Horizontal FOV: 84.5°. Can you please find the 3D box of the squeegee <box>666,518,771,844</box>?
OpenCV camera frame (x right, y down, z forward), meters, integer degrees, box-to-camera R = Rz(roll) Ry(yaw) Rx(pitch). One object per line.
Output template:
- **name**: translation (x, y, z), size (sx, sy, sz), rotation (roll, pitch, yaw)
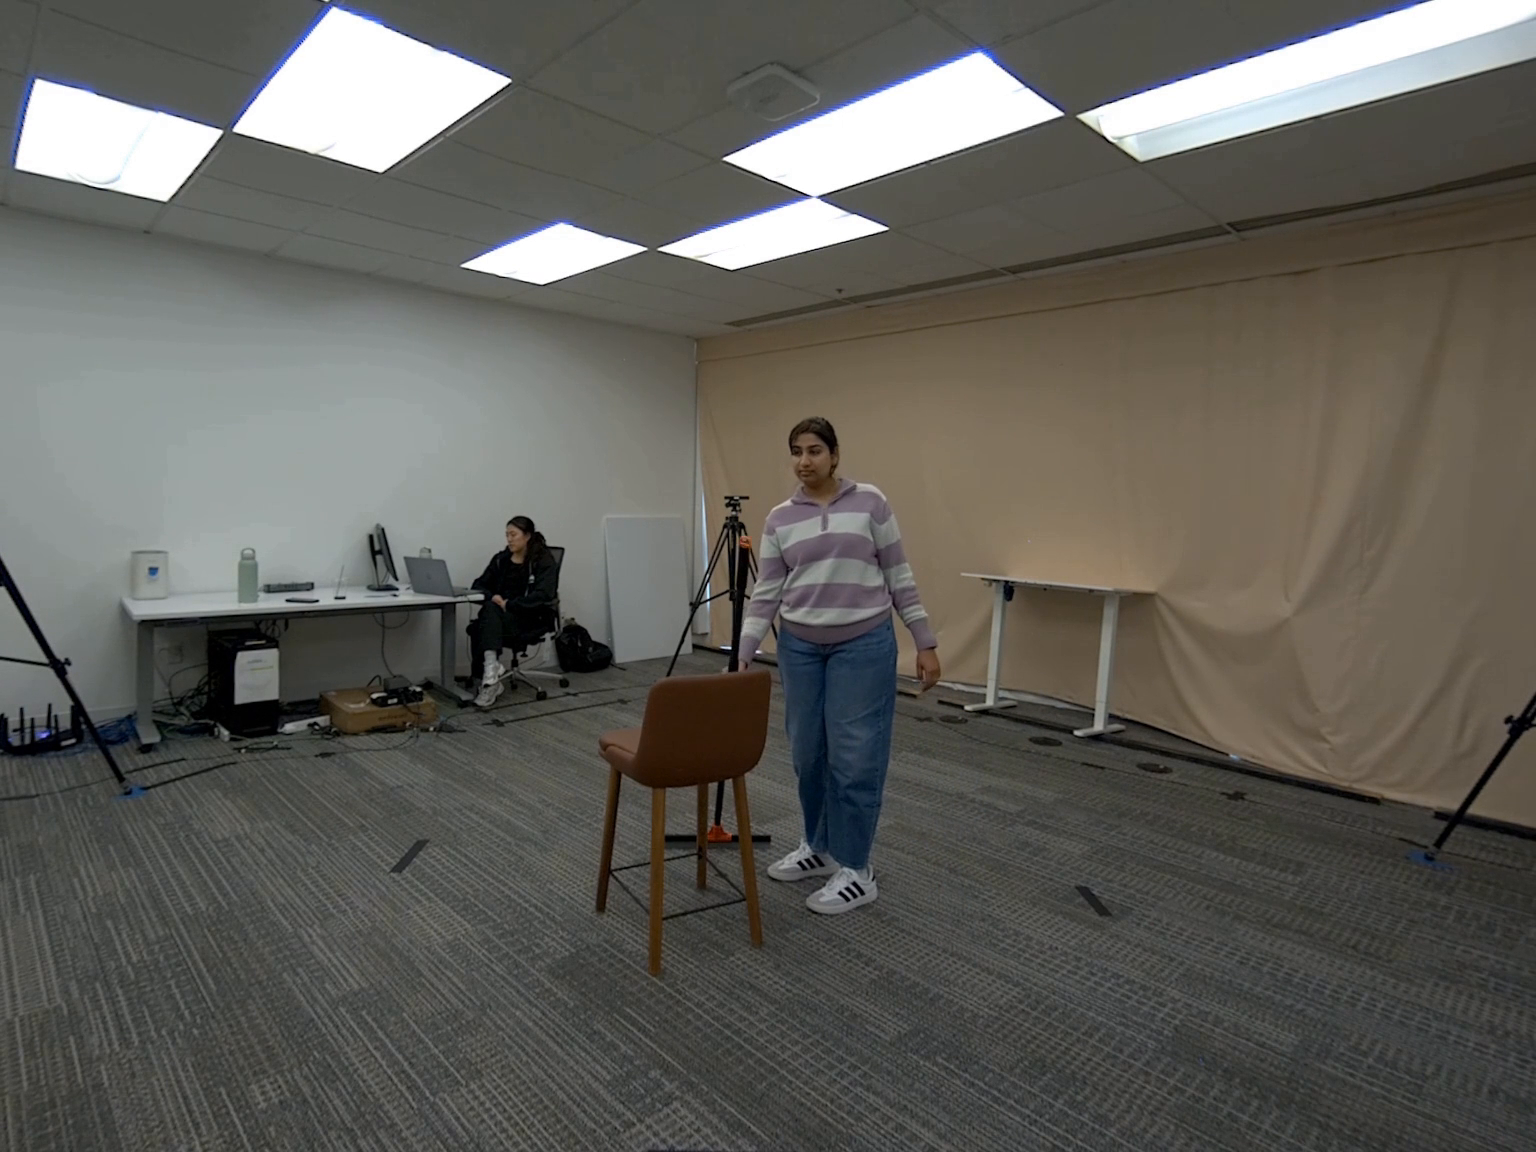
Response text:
- **squeegee**: translation (-0.155, 0.466, 2.889), size (0.436, 1.508, 0.054), rotation (1, 38, -5)
